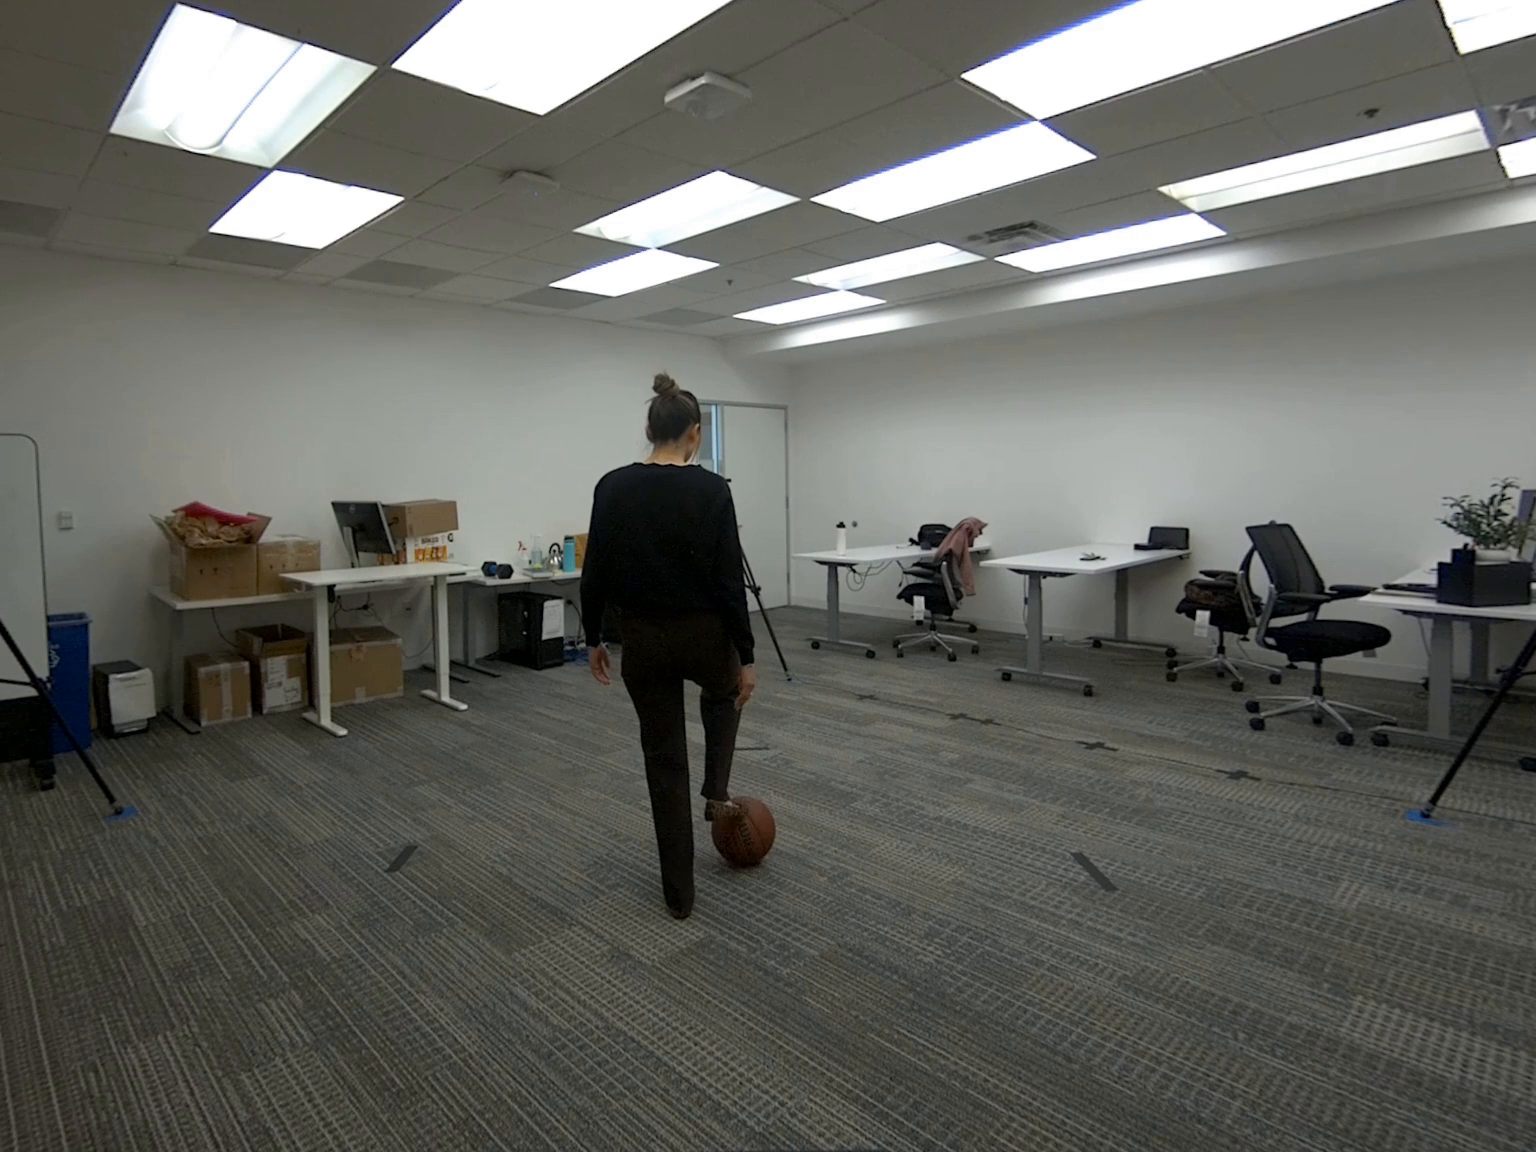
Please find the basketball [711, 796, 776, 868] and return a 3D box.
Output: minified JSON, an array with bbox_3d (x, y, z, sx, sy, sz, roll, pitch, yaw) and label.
[{"bbox_3d":[-0.086,0.922,3.133,0.236,0.235,0.237,-1,5,-2],"label":"basketball"}]
